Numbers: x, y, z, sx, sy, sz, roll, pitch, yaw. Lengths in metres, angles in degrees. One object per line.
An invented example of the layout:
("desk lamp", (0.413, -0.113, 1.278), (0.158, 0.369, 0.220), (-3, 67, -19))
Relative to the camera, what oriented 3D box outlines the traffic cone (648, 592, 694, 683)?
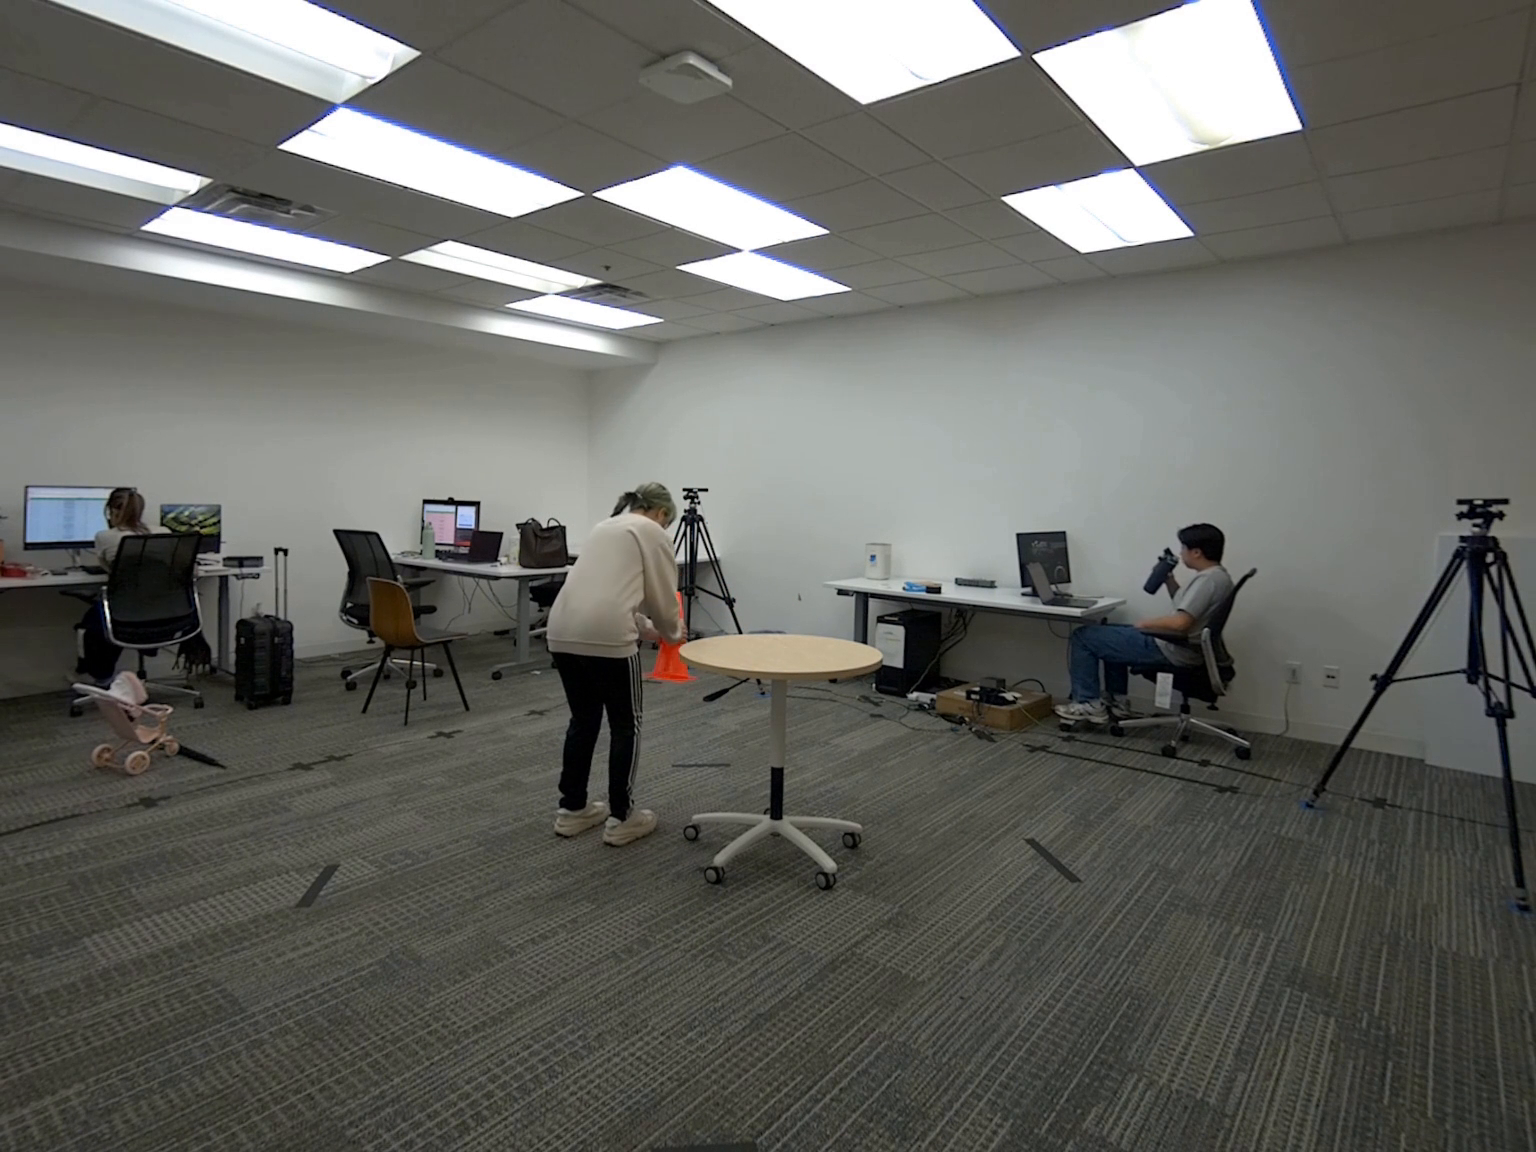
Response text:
("traffic cone", (-0.431, 0.262, 3.776), (0.198, 0.388, 0.208), (13, -16, -35))
